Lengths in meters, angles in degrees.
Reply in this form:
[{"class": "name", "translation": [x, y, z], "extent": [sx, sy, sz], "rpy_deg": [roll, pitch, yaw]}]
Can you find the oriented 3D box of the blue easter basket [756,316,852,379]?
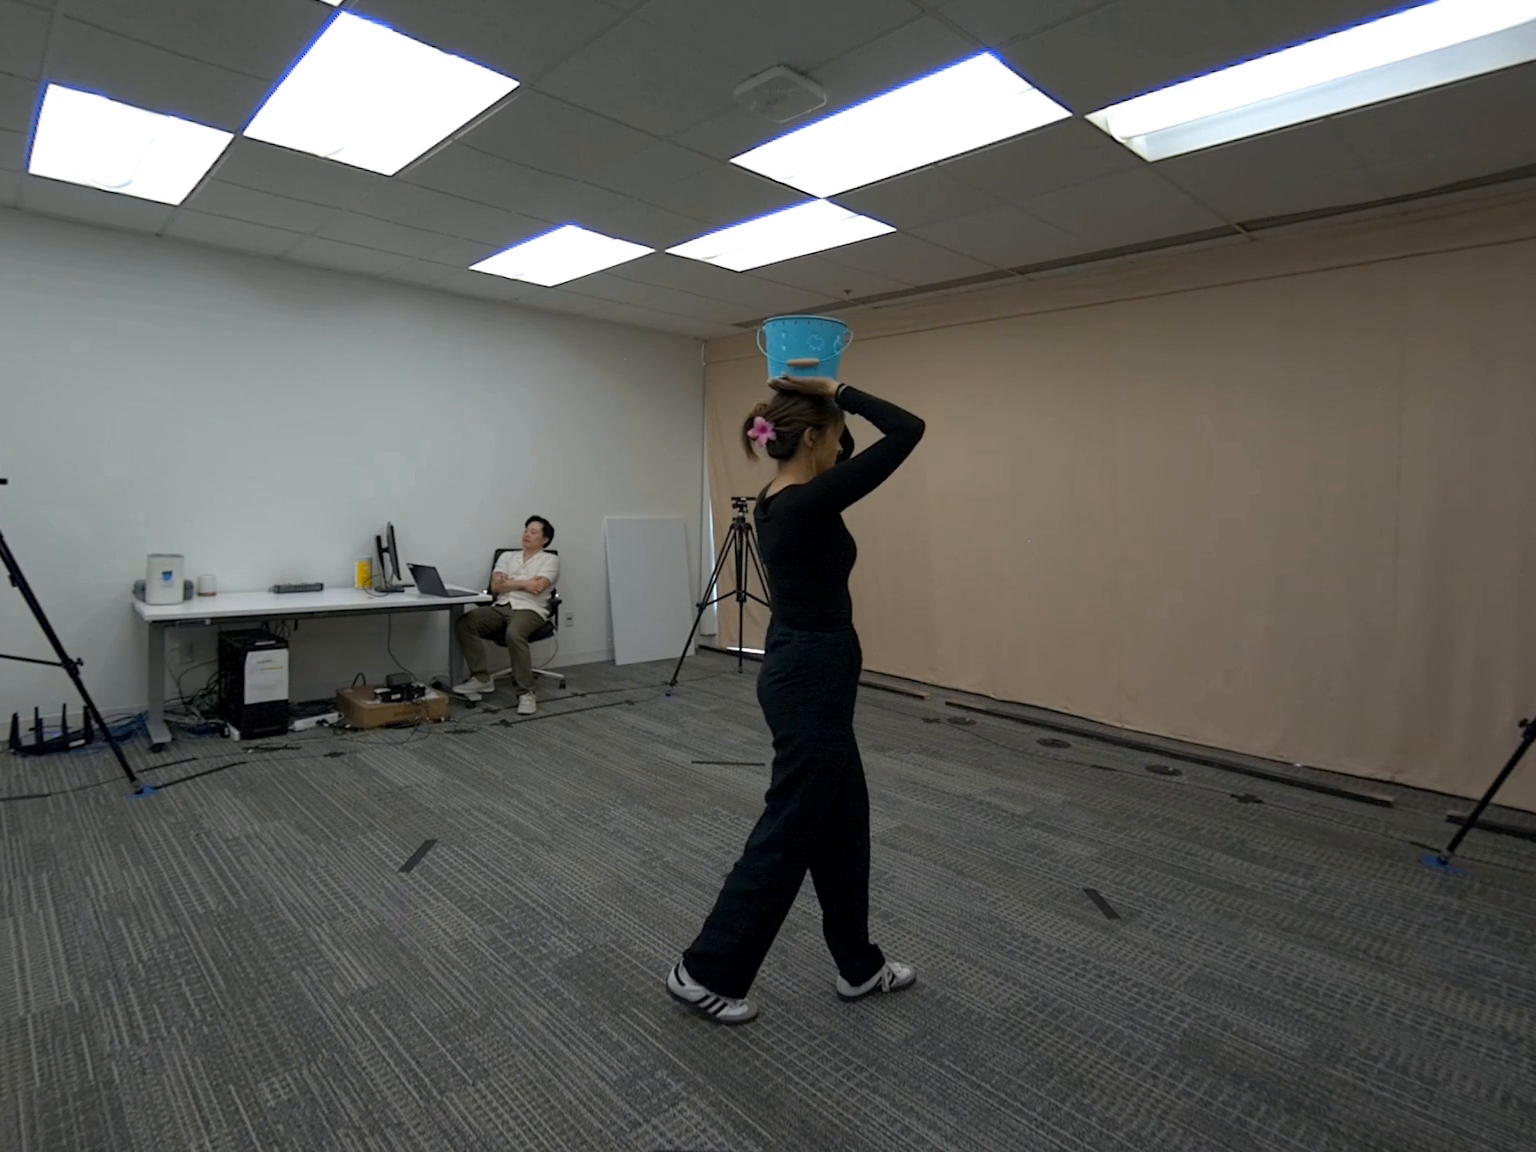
[{"class": "blue easter basket", "translation": [0.094, -0.591, 2.231], "extent": [0.243, 0.155, 0.244], "rpy_deg": [3, 4, -2]}]
